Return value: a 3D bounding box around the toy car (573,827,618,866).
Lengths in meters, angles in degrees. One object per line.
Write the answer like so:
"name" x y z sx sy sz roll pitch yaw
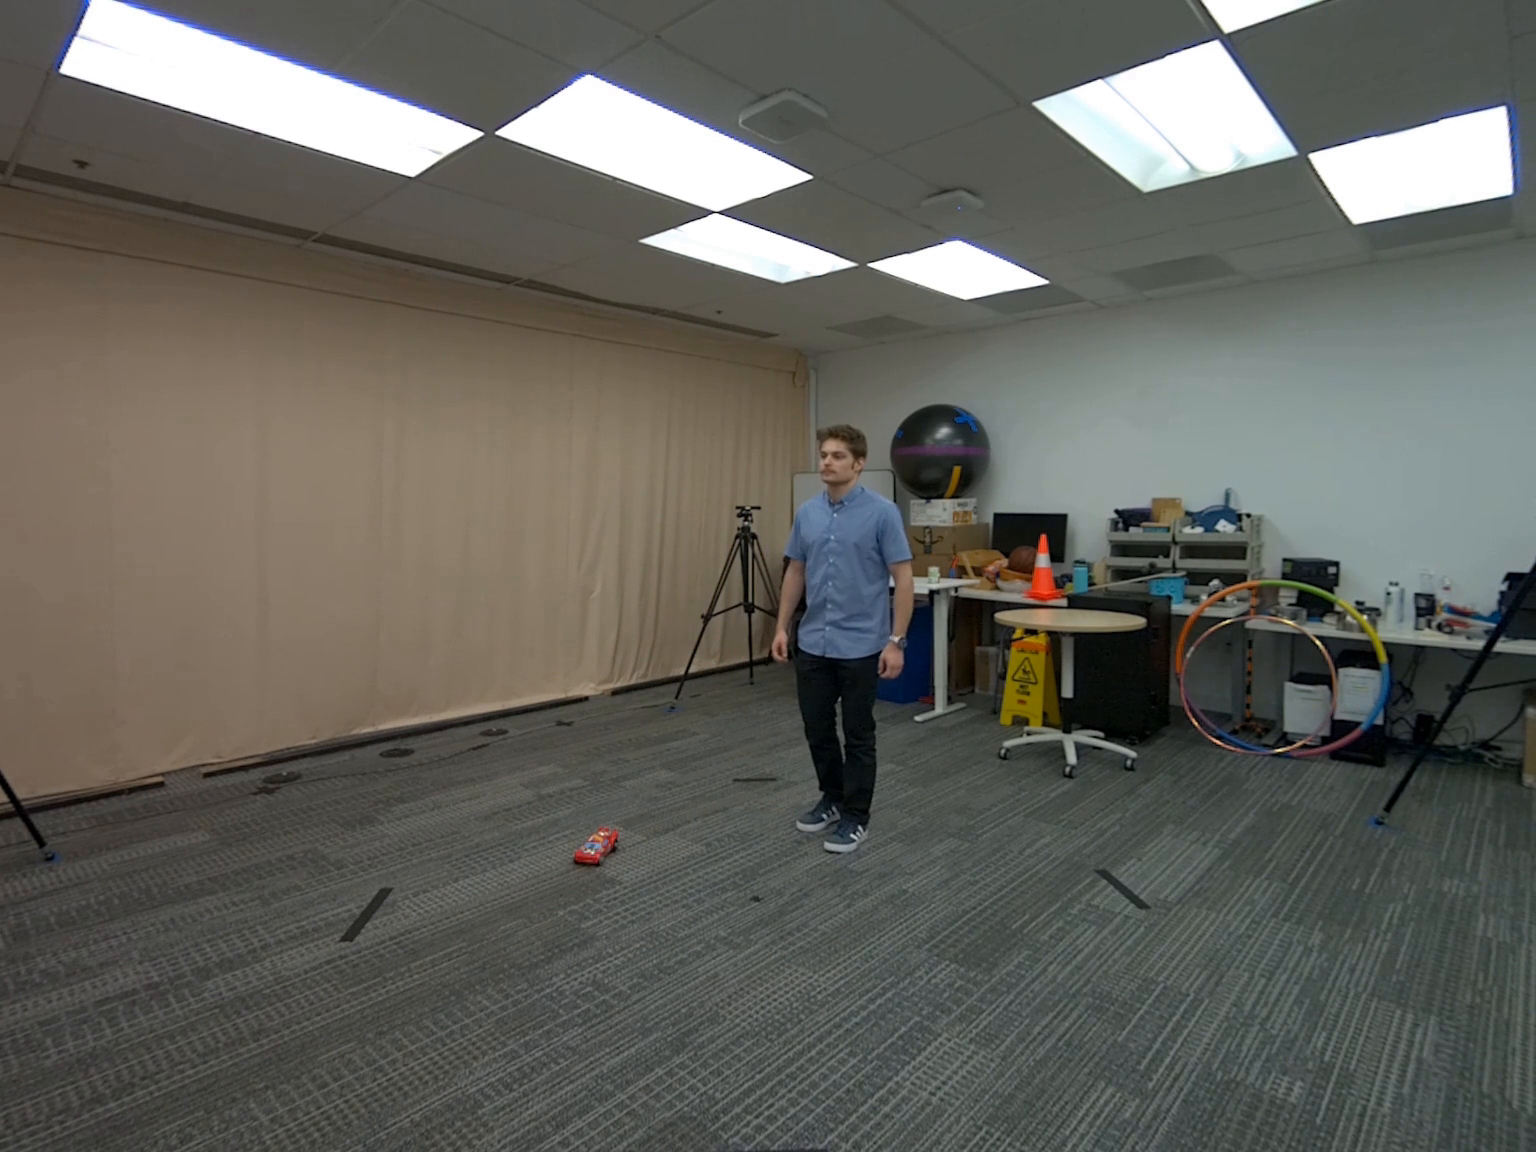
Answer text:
"toy car" -0.684 1.086 3.378 0.132 0.082 0.253 0 15 13
